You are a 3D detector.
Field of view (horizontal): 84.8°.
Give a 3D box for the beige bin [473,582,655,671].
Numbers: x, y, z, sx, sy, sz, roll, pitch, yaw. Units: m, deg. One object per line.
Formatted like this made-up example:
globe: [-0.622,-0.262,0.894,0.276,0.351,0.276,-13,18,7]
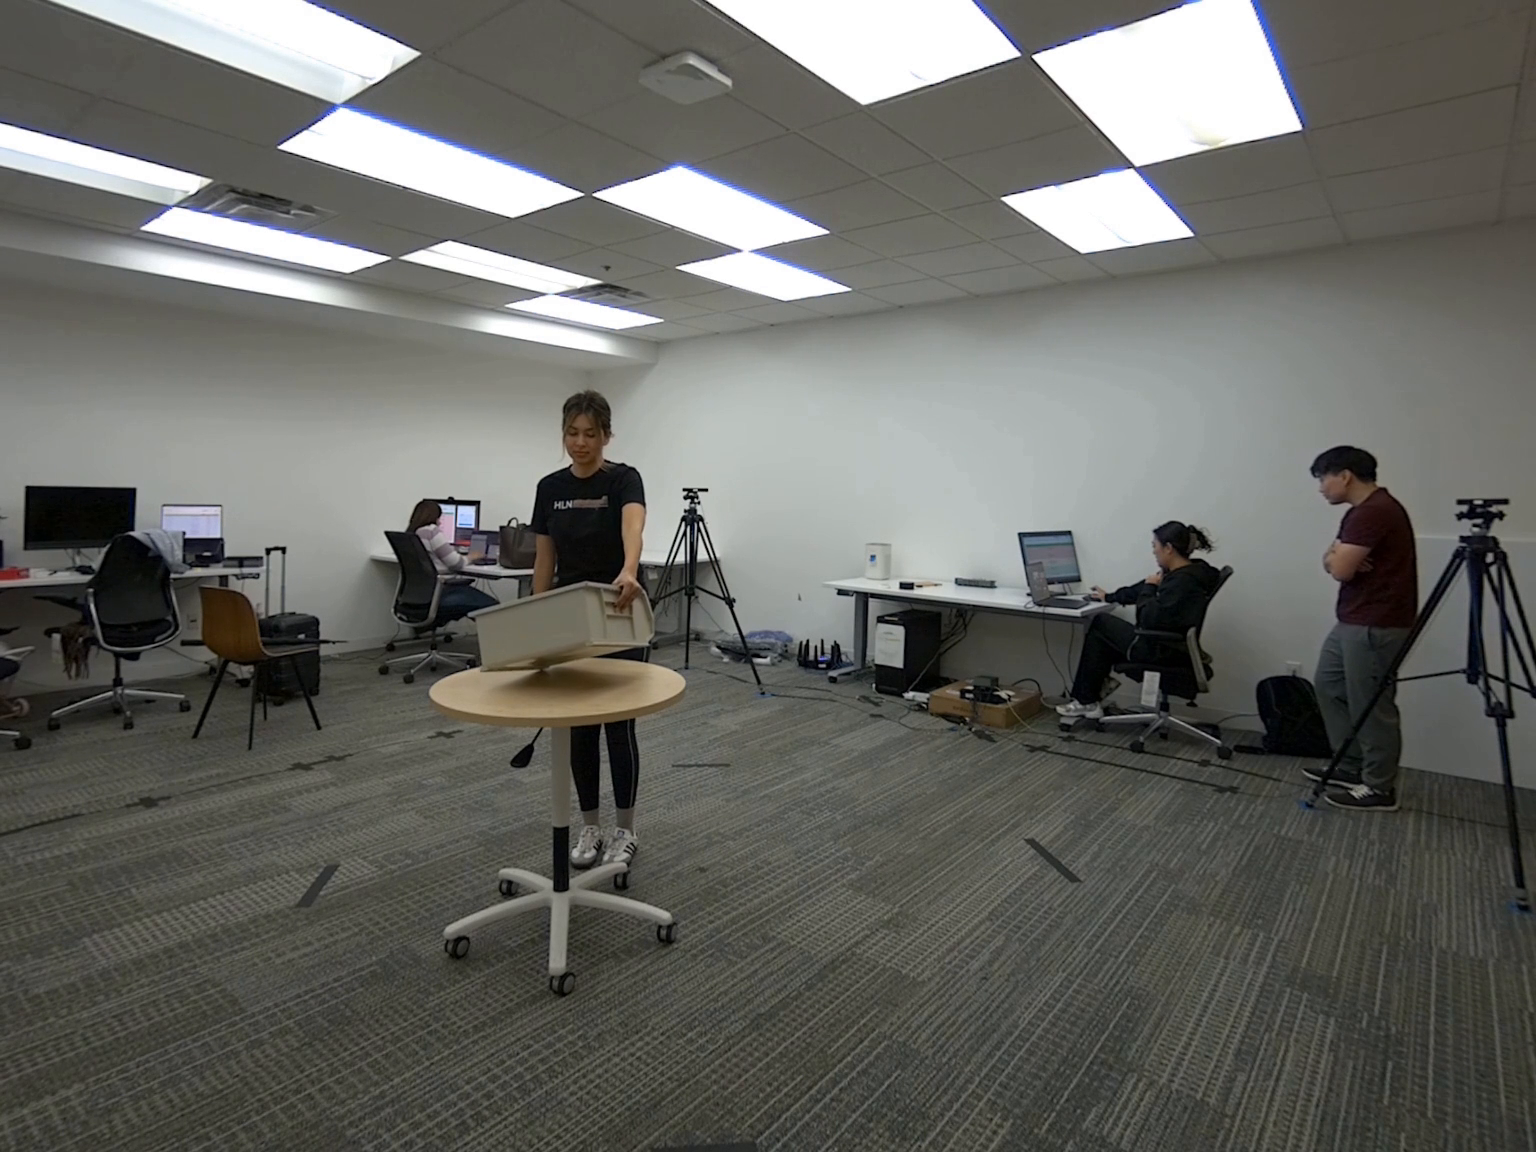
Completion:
beige bin: [-0.634,0.164,2.615,0.429,0.191,0.367,-13,-9,20]
